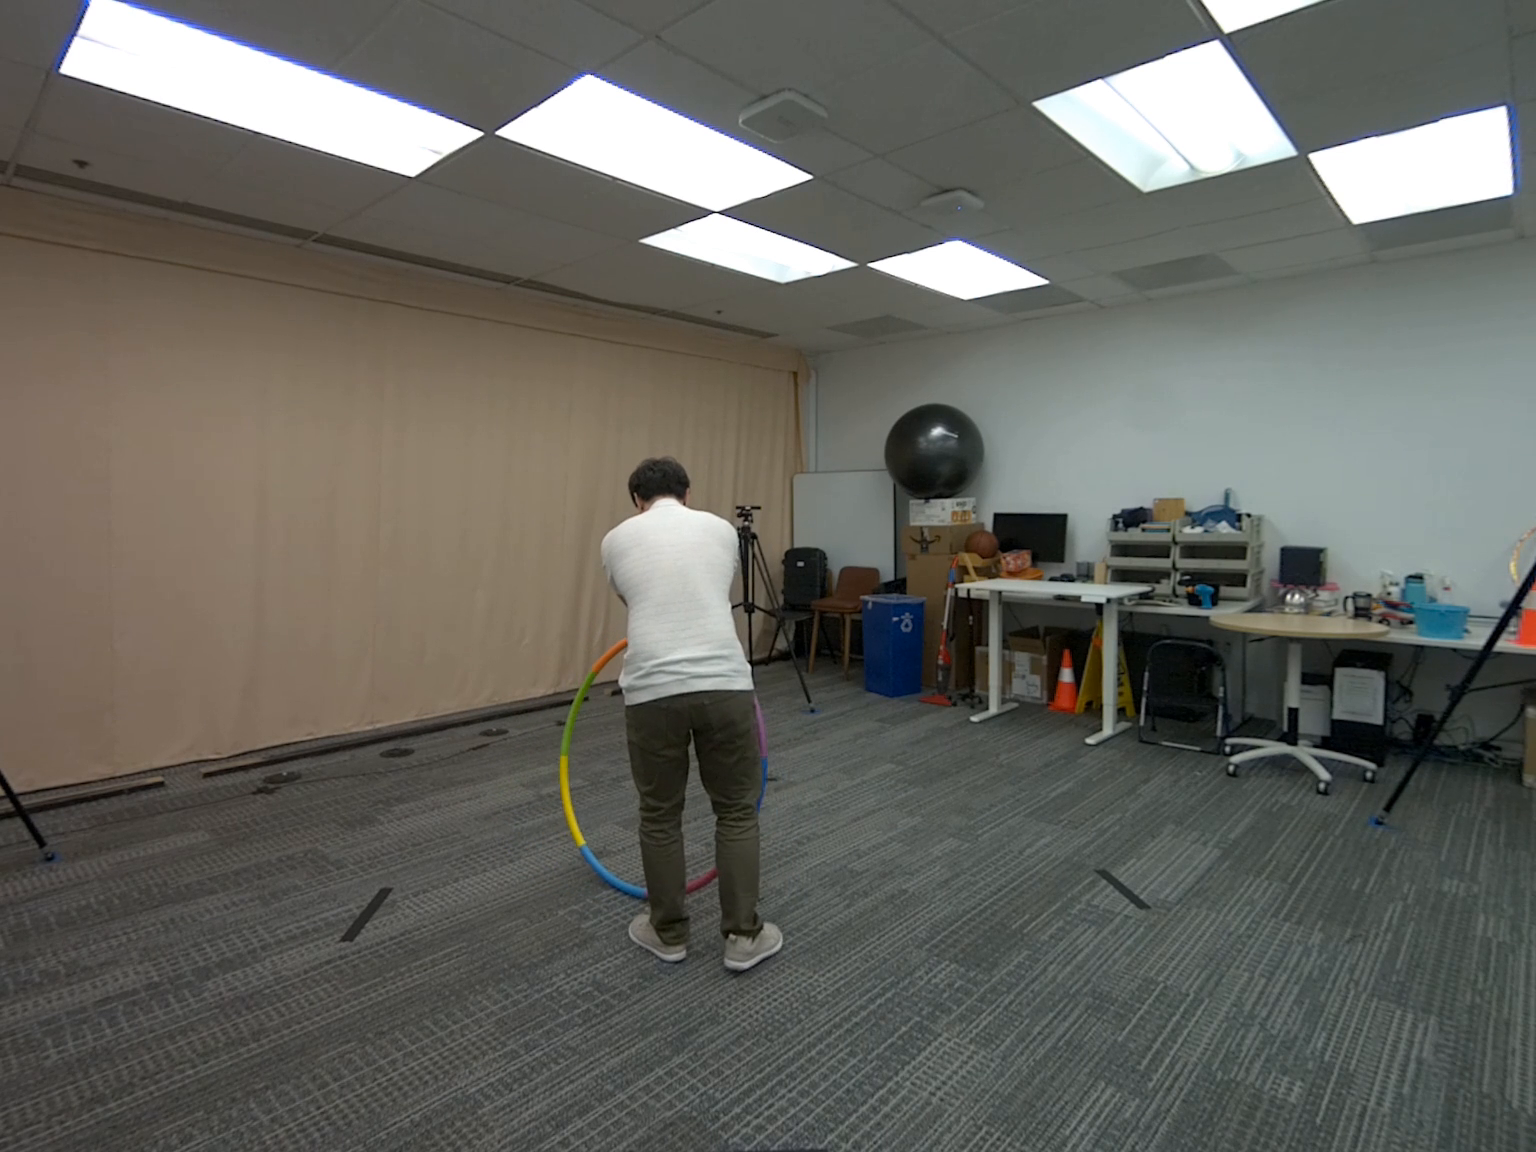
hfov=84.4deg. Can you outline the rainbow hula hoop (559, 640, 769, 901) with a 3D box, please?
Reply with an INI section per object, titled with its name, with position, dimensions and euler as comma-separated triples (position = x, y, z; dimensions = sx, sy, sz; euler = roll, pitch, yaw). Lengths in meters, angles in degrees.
[rainbow hula hoop]
position = -0.415, 0.668, 3.117
dimensions = 1.010, 0.983, 0.034
euler = 3, -13, 36
